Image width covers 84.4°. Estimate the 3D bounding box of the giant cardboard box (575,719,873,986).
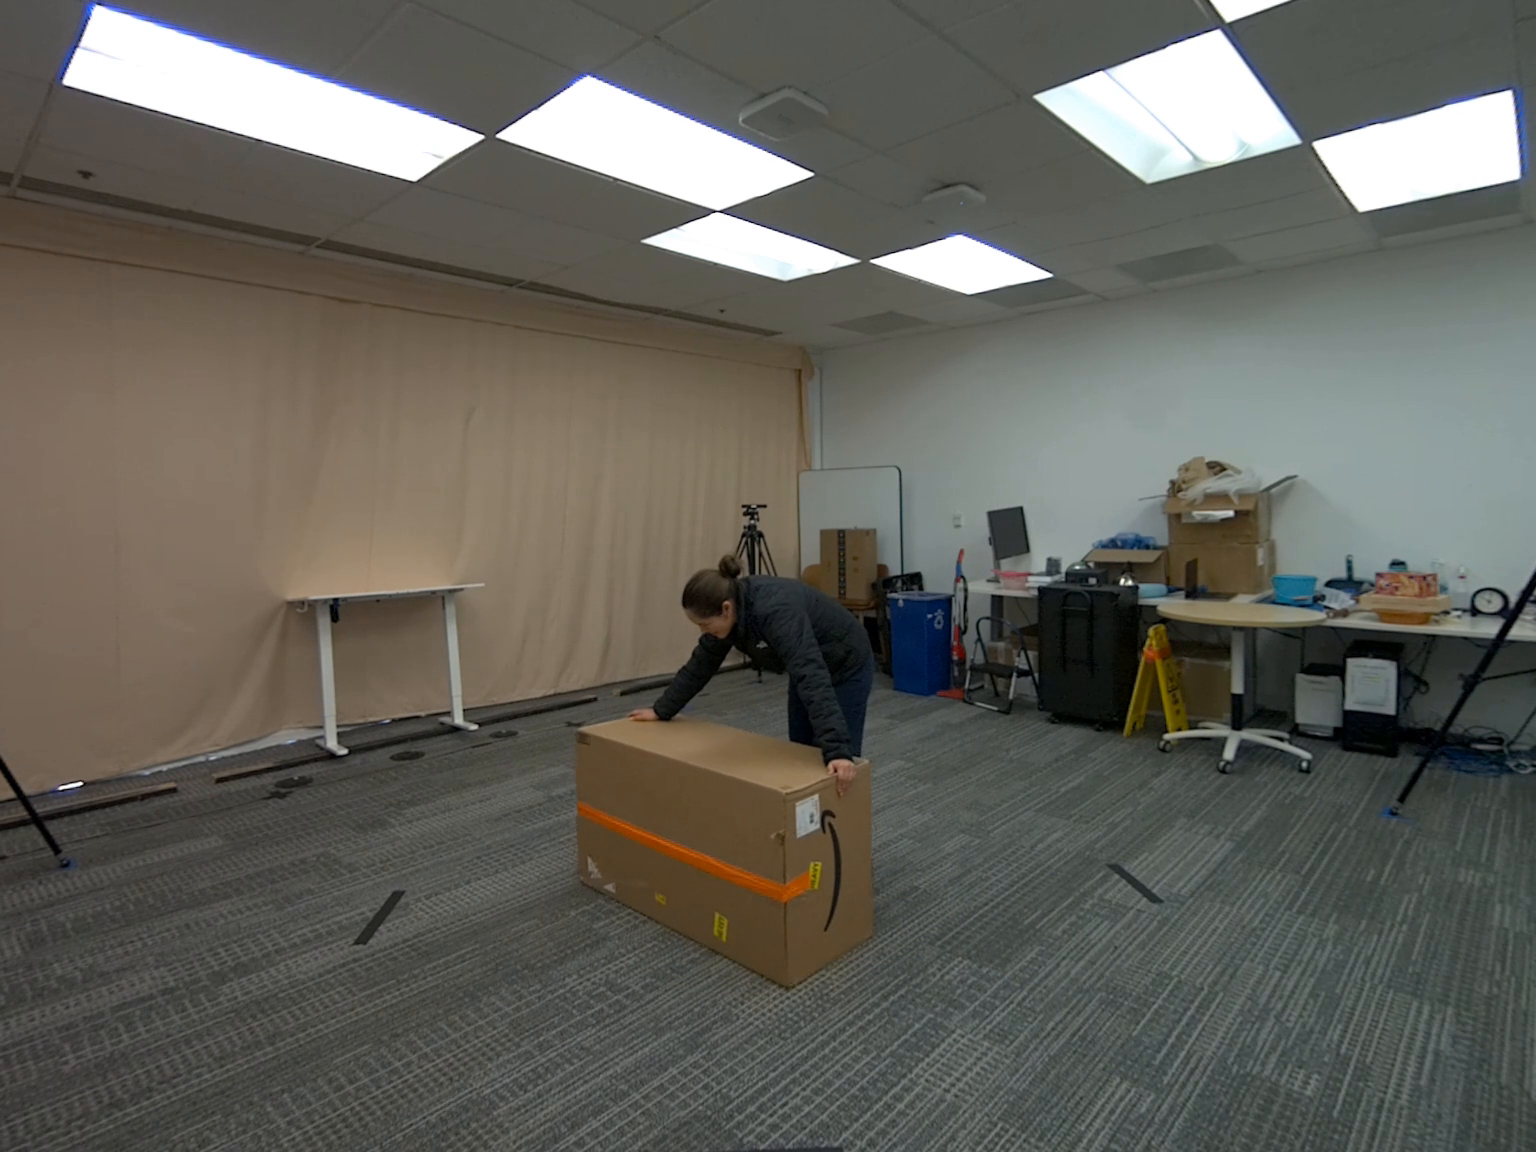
[{"bbox_3d":[-0.177,0.865,2.901,1.061,0.583,0.433,3,4,44],"label":"giant cardboard box"}]
